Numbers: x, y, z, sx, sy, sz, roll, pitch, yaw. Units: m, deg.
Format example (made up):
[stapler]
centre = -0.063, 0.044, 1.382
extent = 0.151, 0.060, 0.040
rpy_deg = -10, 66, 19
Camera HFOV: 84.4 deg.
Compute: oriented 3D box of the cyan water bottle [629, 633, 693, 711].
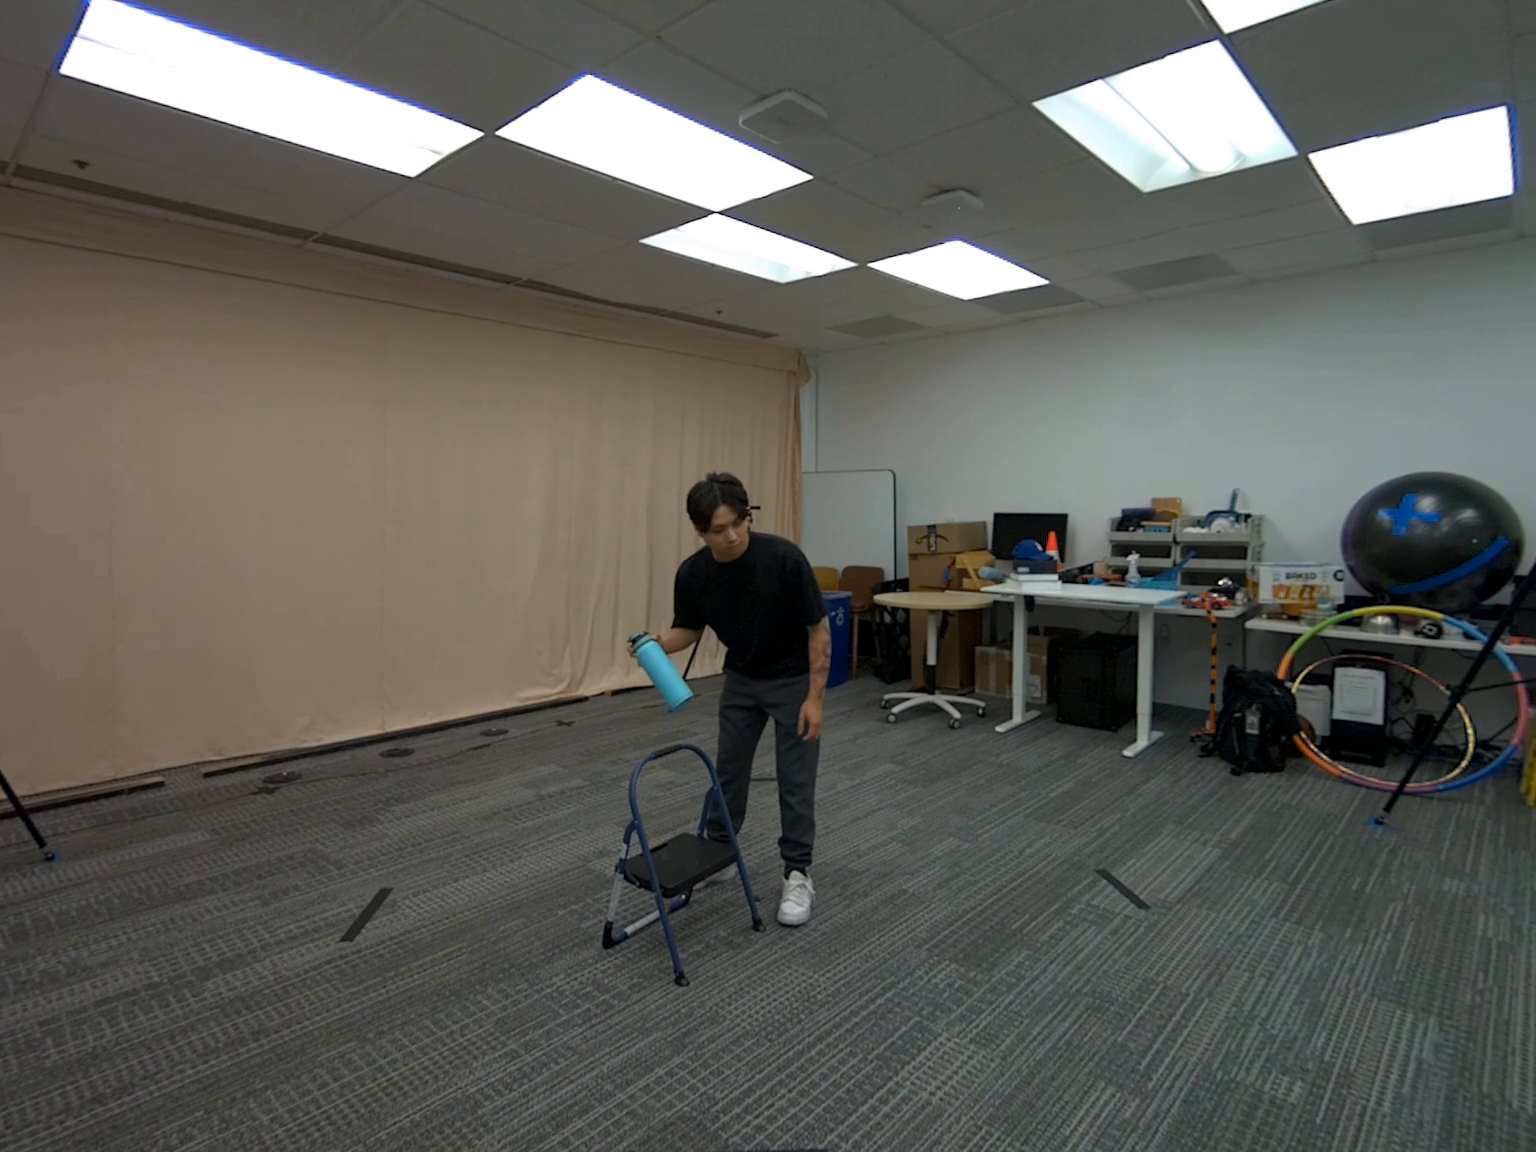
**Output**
[cyan water bottle]
centre = -0.350, 0.322, 2.792
extent = 0.092, 0.287, 0.091
rpy_deg = -34, -11, -9
